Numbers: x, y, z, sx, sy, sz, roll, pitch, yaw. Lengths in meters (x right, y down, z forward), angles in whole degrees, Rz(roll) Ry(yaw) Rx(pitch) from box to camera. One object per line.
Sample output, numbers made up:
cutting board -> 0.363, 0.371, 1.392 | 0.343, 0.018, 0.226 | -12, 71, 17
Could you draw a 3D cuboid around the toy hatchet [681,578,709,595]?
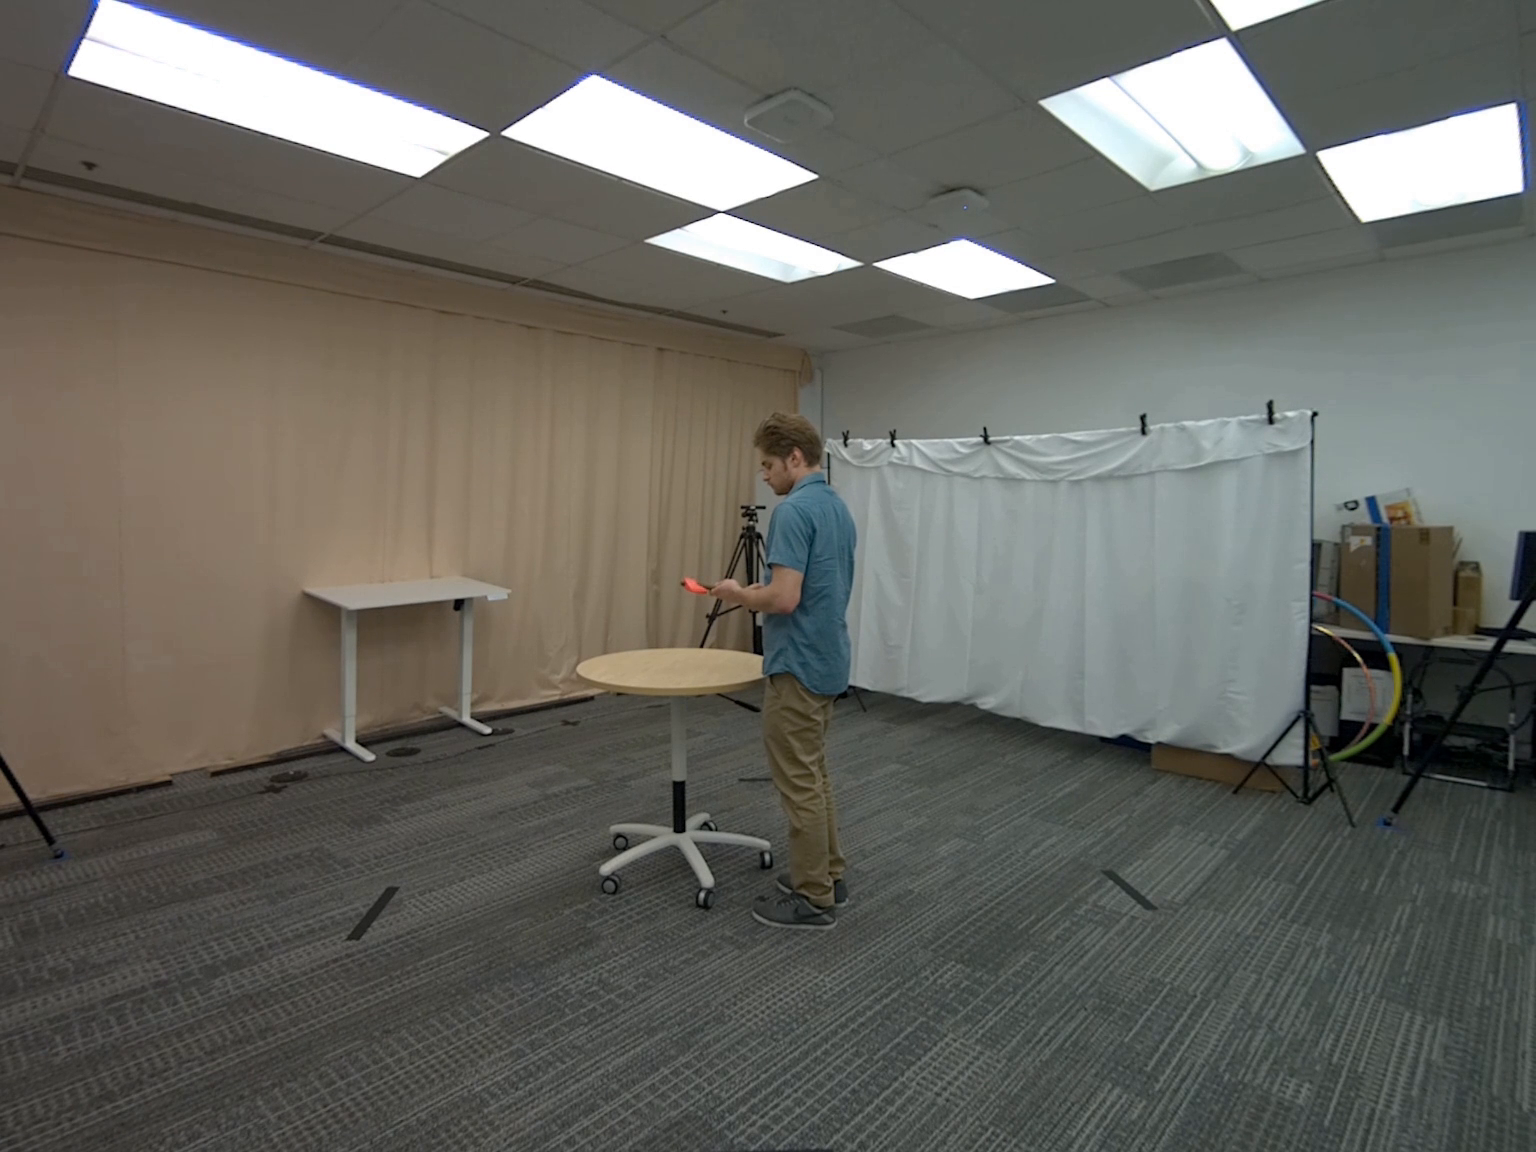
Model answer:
toy hatchet -> -0.158, 0.062, 2.866 | 0.272, 0.029, 0.131 | 14, 13, 5
